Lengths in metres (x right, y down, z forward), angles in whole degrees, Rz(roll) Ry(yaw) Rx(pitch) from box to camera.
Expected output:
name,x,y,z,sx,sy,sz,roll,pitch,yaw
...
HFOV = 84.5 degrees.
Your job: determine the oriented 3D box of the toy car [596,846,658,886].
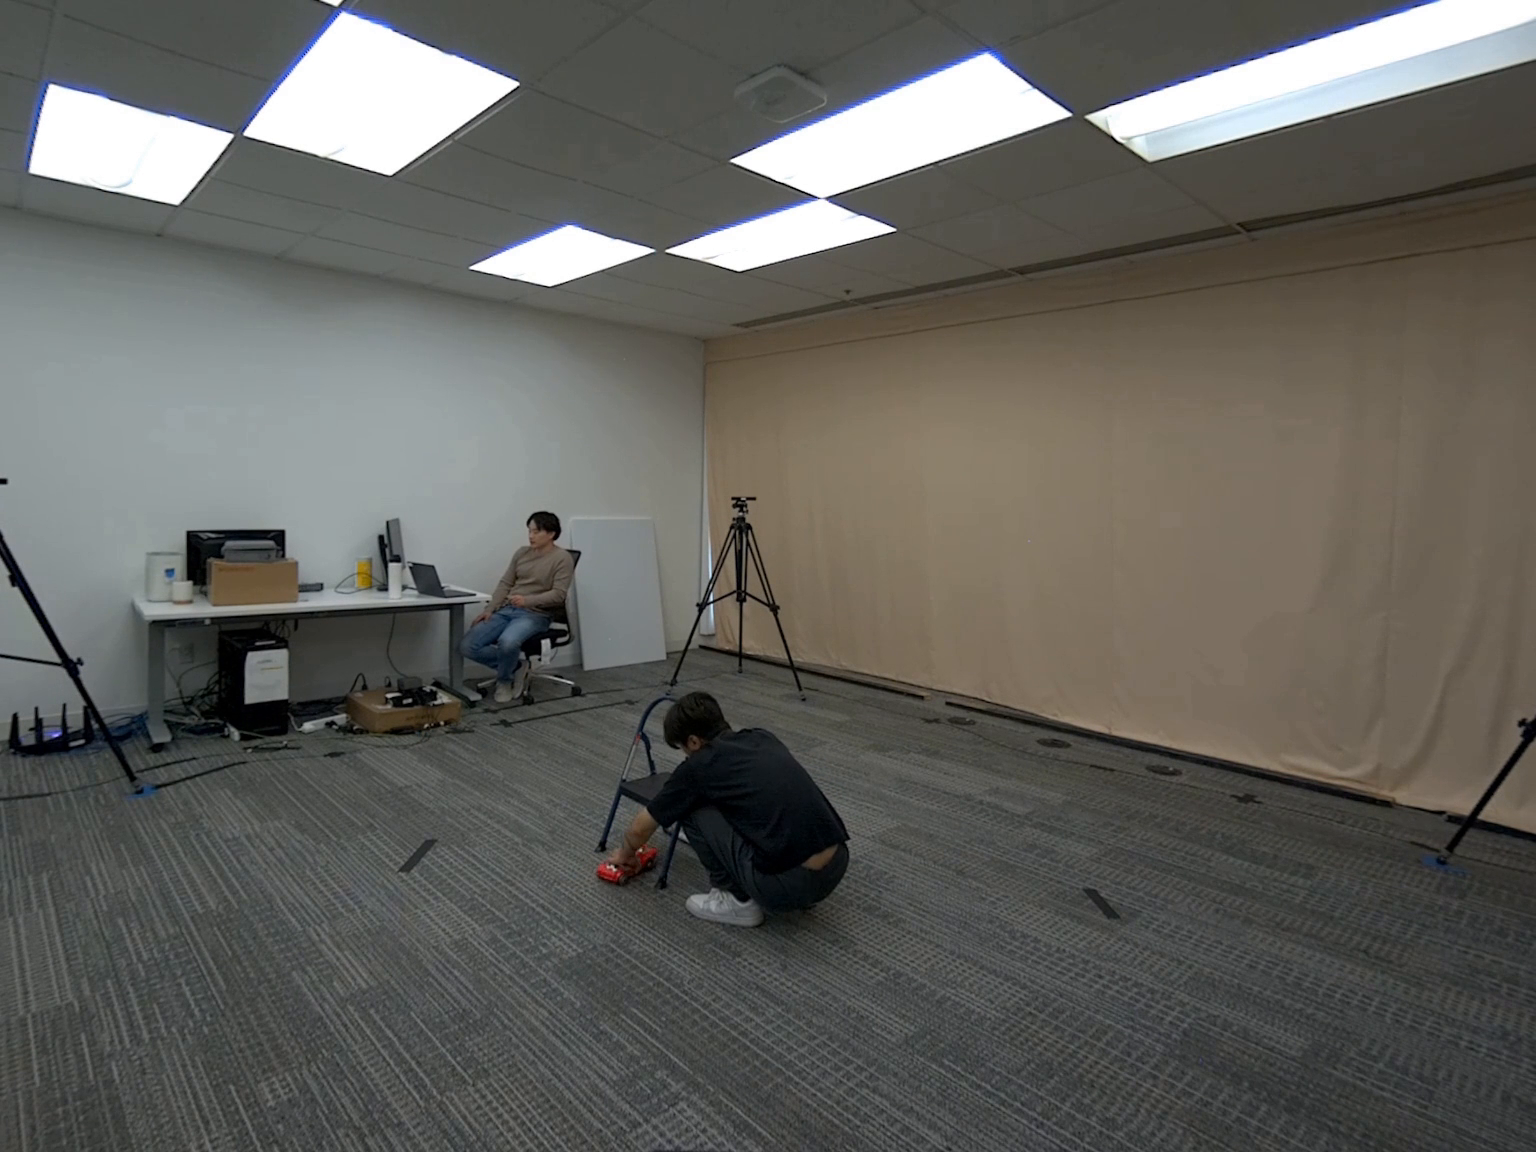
name,x,y,z,sx,sy,sz,roll,pitch,yaw
toy car,-0.516,1.066,3.113,0.133,0.082,0.251,4,17,36
